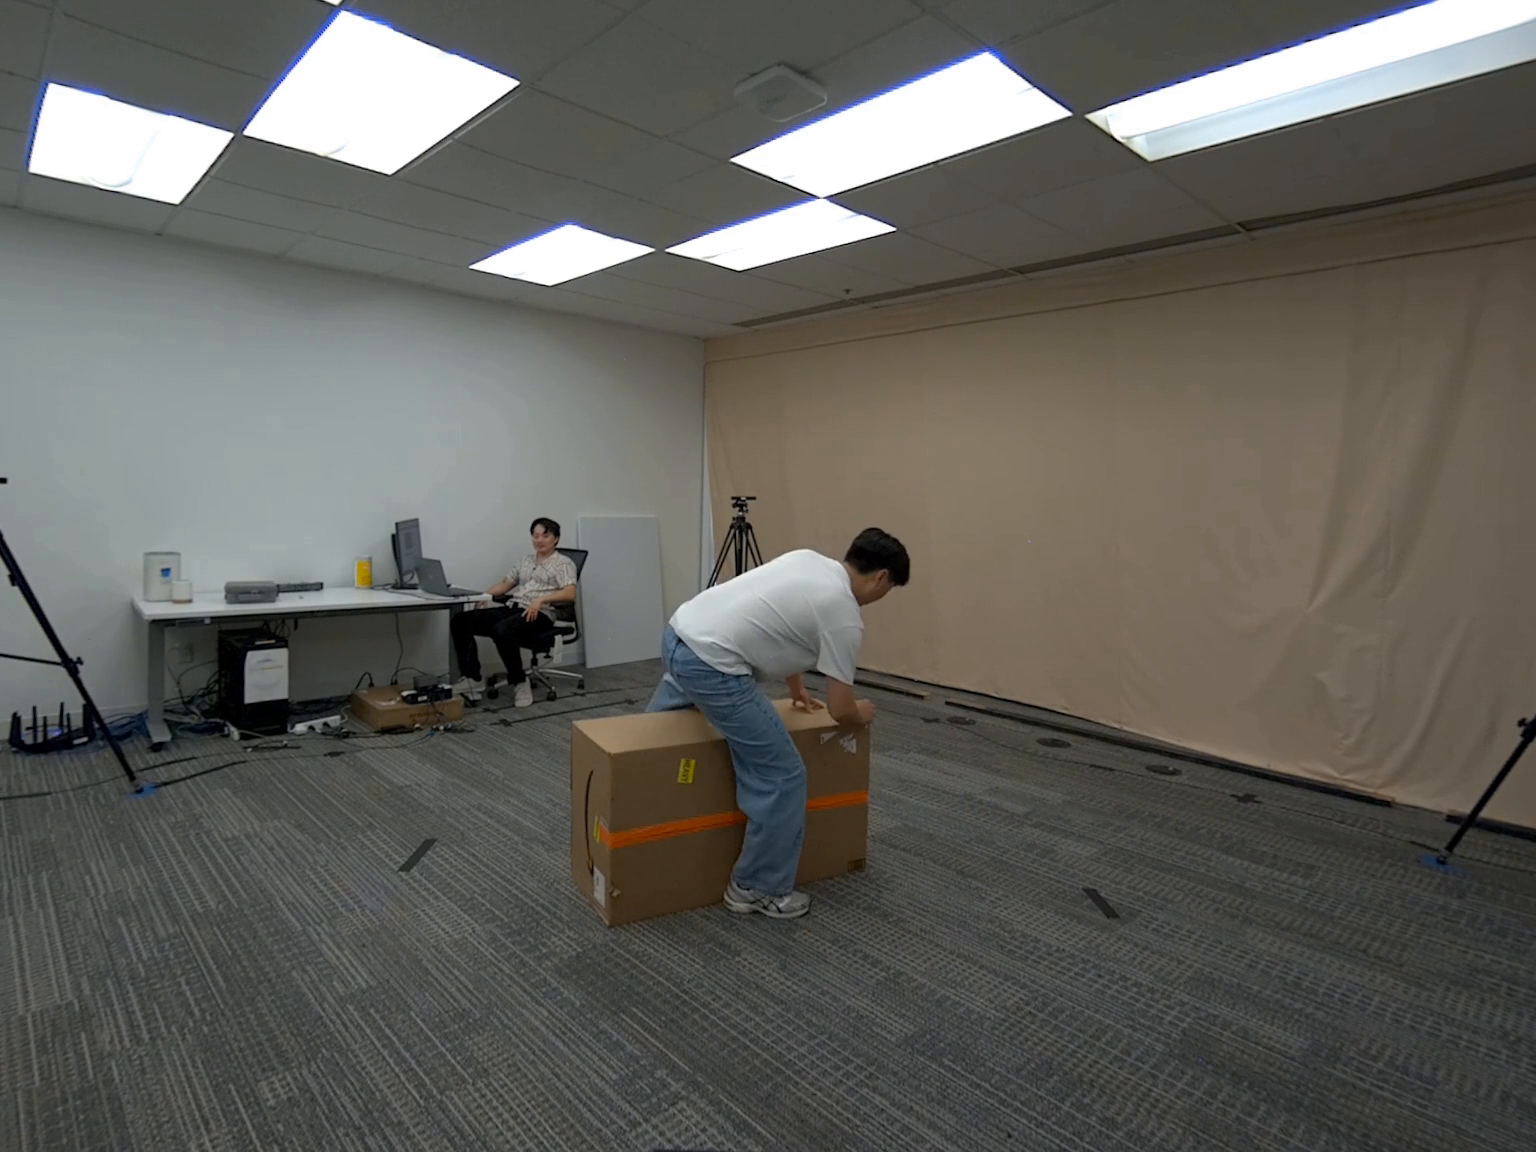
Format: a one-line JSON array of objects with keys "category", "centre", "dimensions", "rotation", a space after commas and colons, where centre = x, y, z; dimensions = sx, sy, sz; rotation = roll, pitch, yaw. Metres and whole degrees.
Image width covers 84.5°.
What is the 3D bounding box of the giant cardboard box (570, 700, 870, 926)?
[{"category": "giant cardboard box", "centre": [-0.174, 0.817, 3.110], "dimensions": [1.006, 0.576, 0.435], "rotation": [-1, 4, -27]}]
